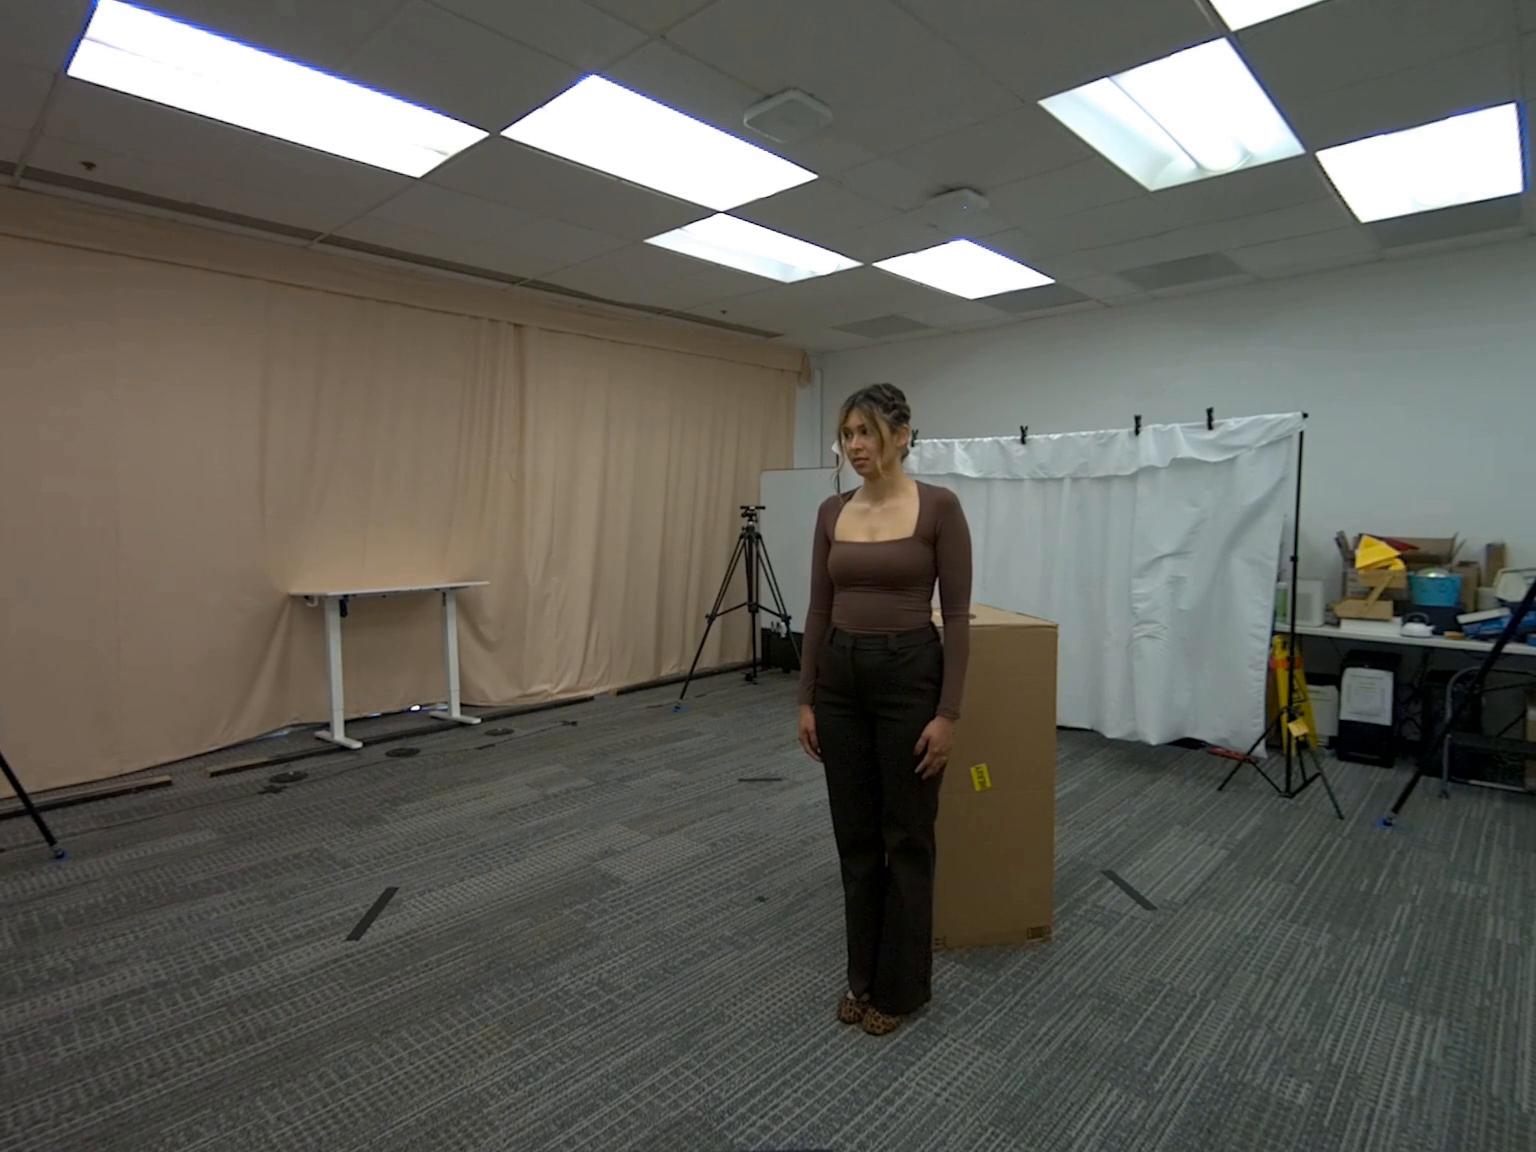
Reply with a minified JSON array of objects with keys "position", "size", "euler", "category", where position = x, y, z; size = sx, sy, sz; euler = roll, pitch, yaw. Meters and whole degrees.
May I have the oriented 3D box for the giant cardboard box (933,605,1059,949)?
[{"position":[0.658,0.639,2.912],"size":[0.441,1.025,0.592],"euler":[0,3,-12],"category":"giant cardboard box"}]
